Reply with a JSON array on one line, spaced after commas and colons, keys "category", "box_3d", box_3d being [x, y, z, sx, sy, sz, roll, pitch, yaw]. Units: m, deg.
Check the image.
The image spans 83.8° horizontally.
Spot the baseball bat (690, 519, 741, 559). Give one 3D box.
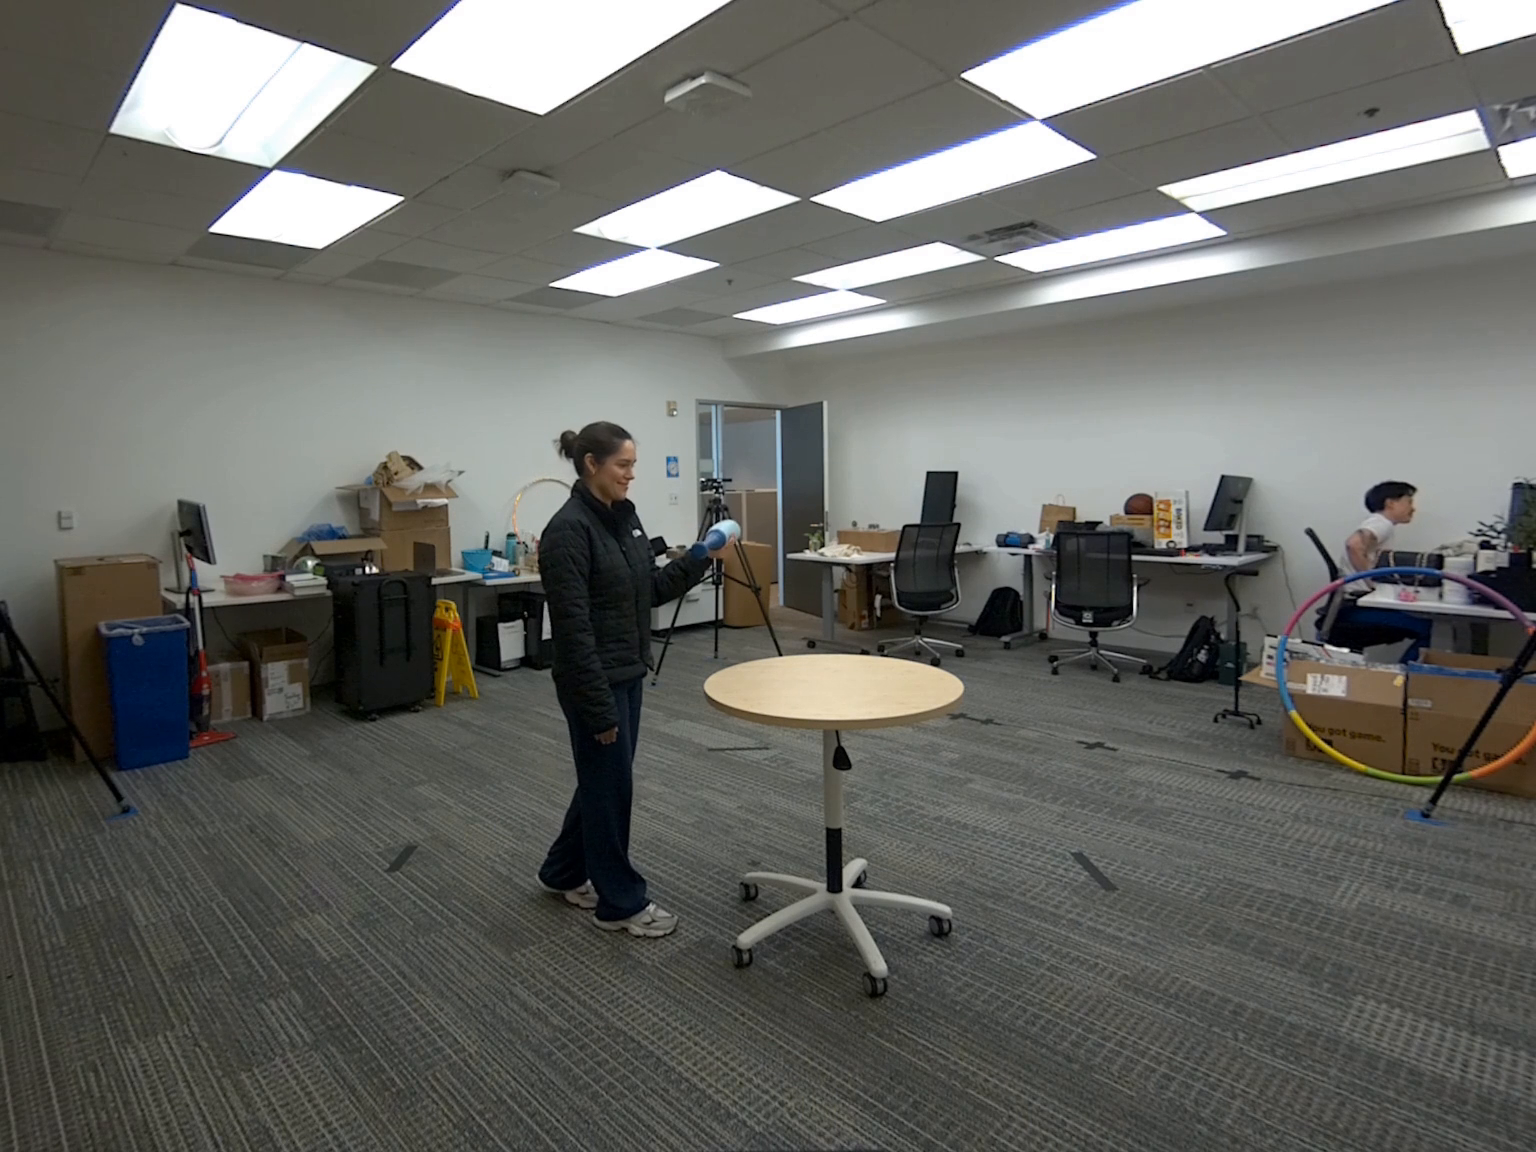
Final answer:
[{"category": "baseball bat", "box_3d": [-0.171, -0.114, 2.761, 0.090, 0.088, 0.541, 0, 9, 9]}]
